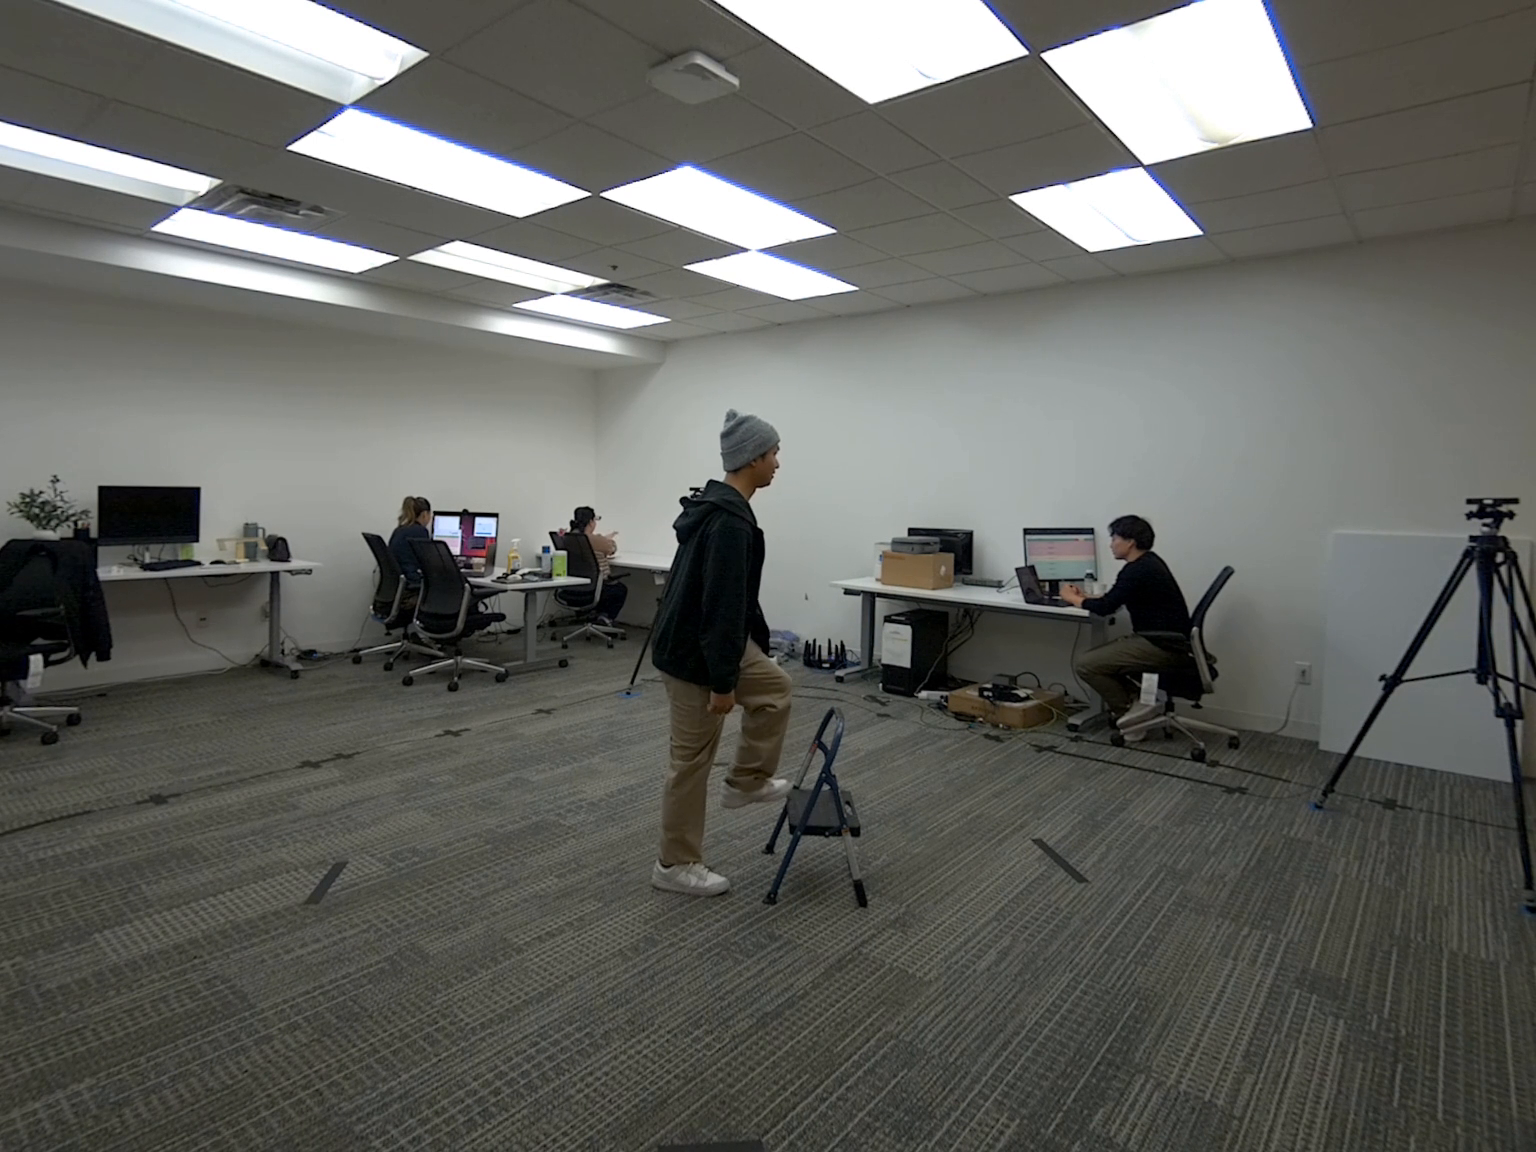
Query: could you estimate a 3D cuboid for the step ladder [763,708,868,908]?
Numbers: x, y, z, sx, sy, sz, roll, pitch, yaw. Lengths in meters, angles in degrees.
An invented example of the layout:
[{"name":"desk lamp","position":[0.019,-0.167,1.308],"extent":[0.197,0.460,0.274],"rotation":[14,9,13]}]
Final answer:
[{"name":"step ladder","position":[0.159,0.783,3.037],"extent":[0.349,0.604,0.432],"rotation":[1,4,-1]}]
